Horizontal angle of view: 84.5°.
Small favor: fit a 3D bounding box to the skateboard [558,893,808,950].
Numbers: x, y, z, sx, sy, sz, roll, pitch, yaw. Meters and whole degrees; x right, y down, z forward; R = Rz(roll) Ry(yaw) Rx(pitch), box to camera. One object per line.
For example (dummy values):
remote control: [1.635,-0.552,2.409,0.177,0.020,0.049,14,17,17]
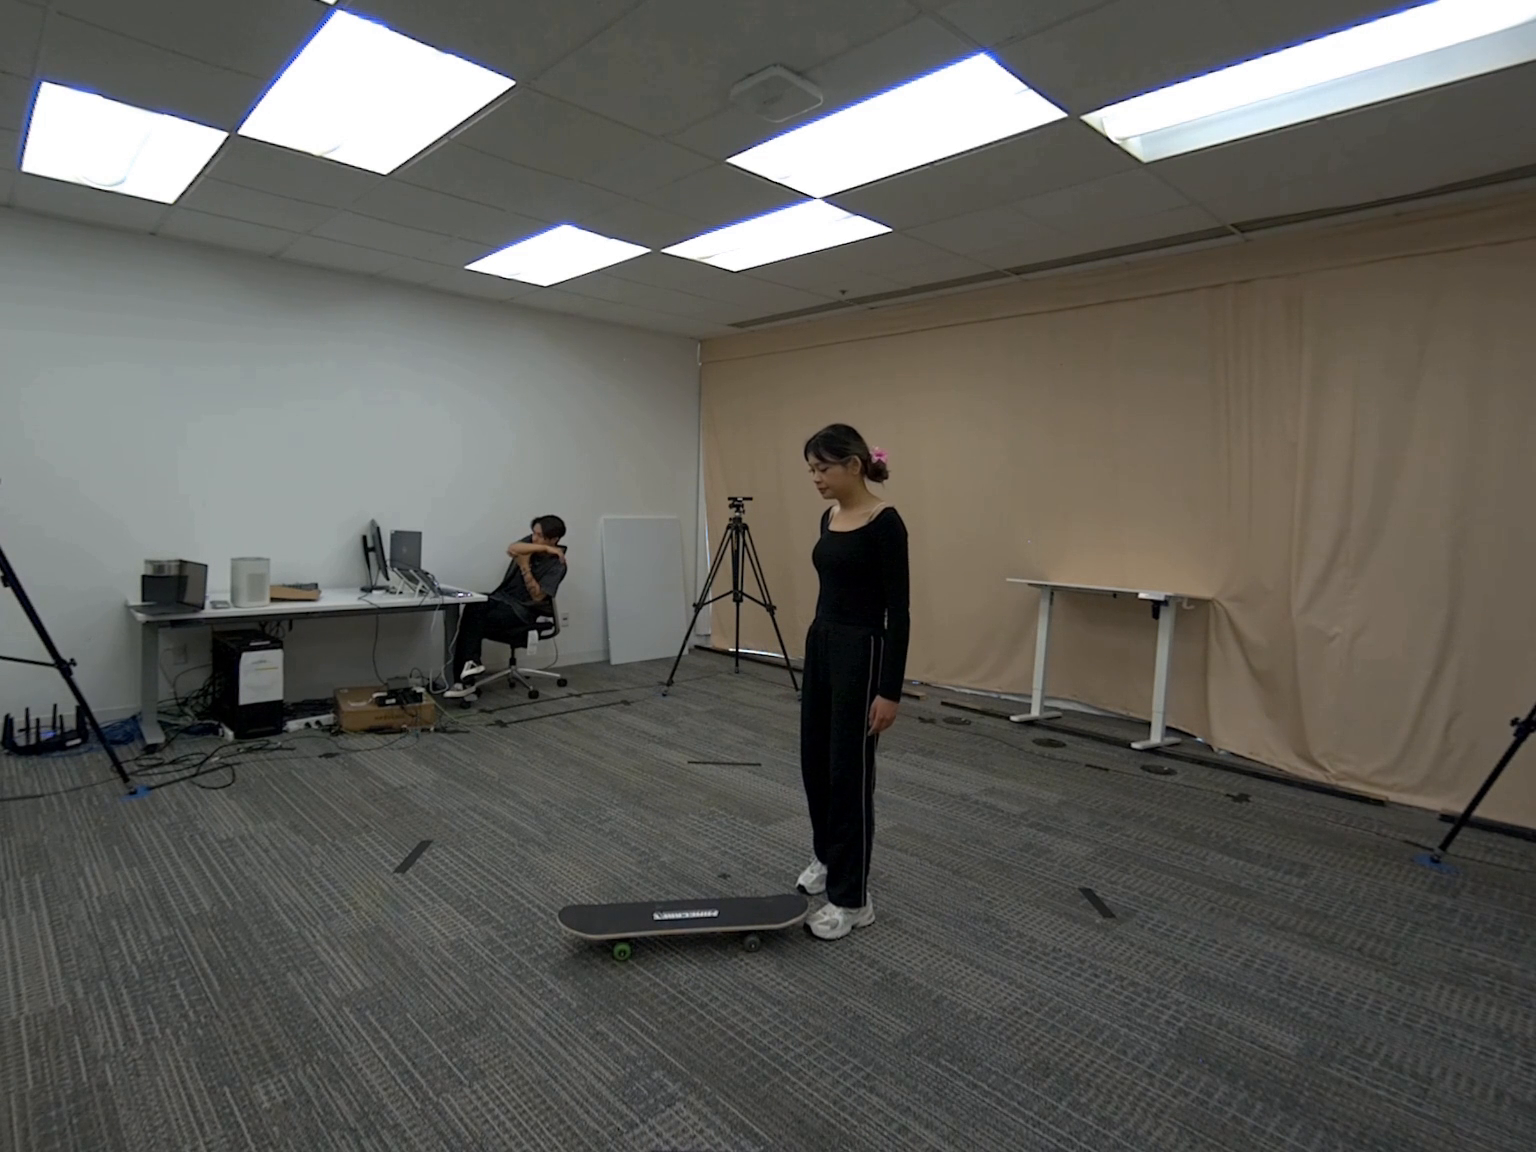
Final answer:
skateboard: [-0.260,1.094,2.624,0.780,0.110,0.195,1,4,-9]
